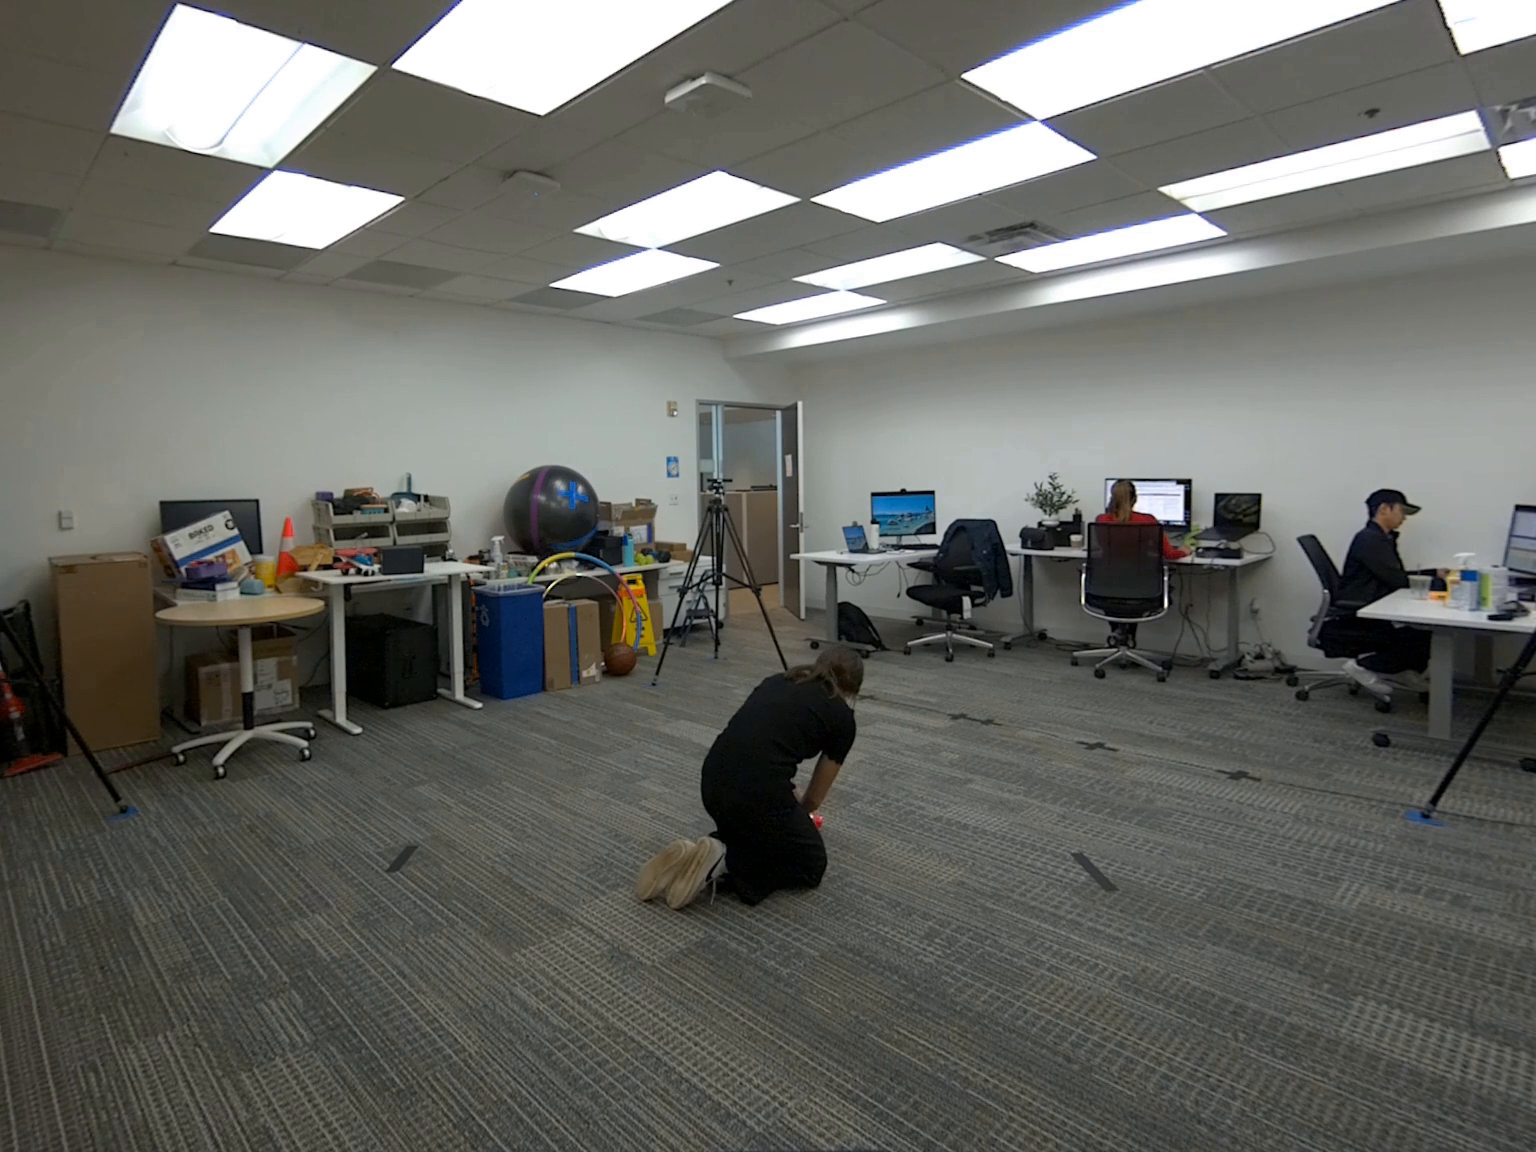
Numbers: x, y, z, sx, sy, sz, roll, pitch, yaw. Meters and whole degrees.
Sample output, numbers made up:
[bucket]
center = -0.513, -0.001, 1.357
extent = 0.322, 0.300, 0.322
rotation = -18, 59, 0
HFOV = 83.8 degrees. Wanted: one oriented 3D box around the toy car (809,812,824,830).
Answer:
[toy car]
center = 0.110, 0.987, 3.354
extent = 0.250, 0.082, 0.134
rotation = -15, 11, -24
